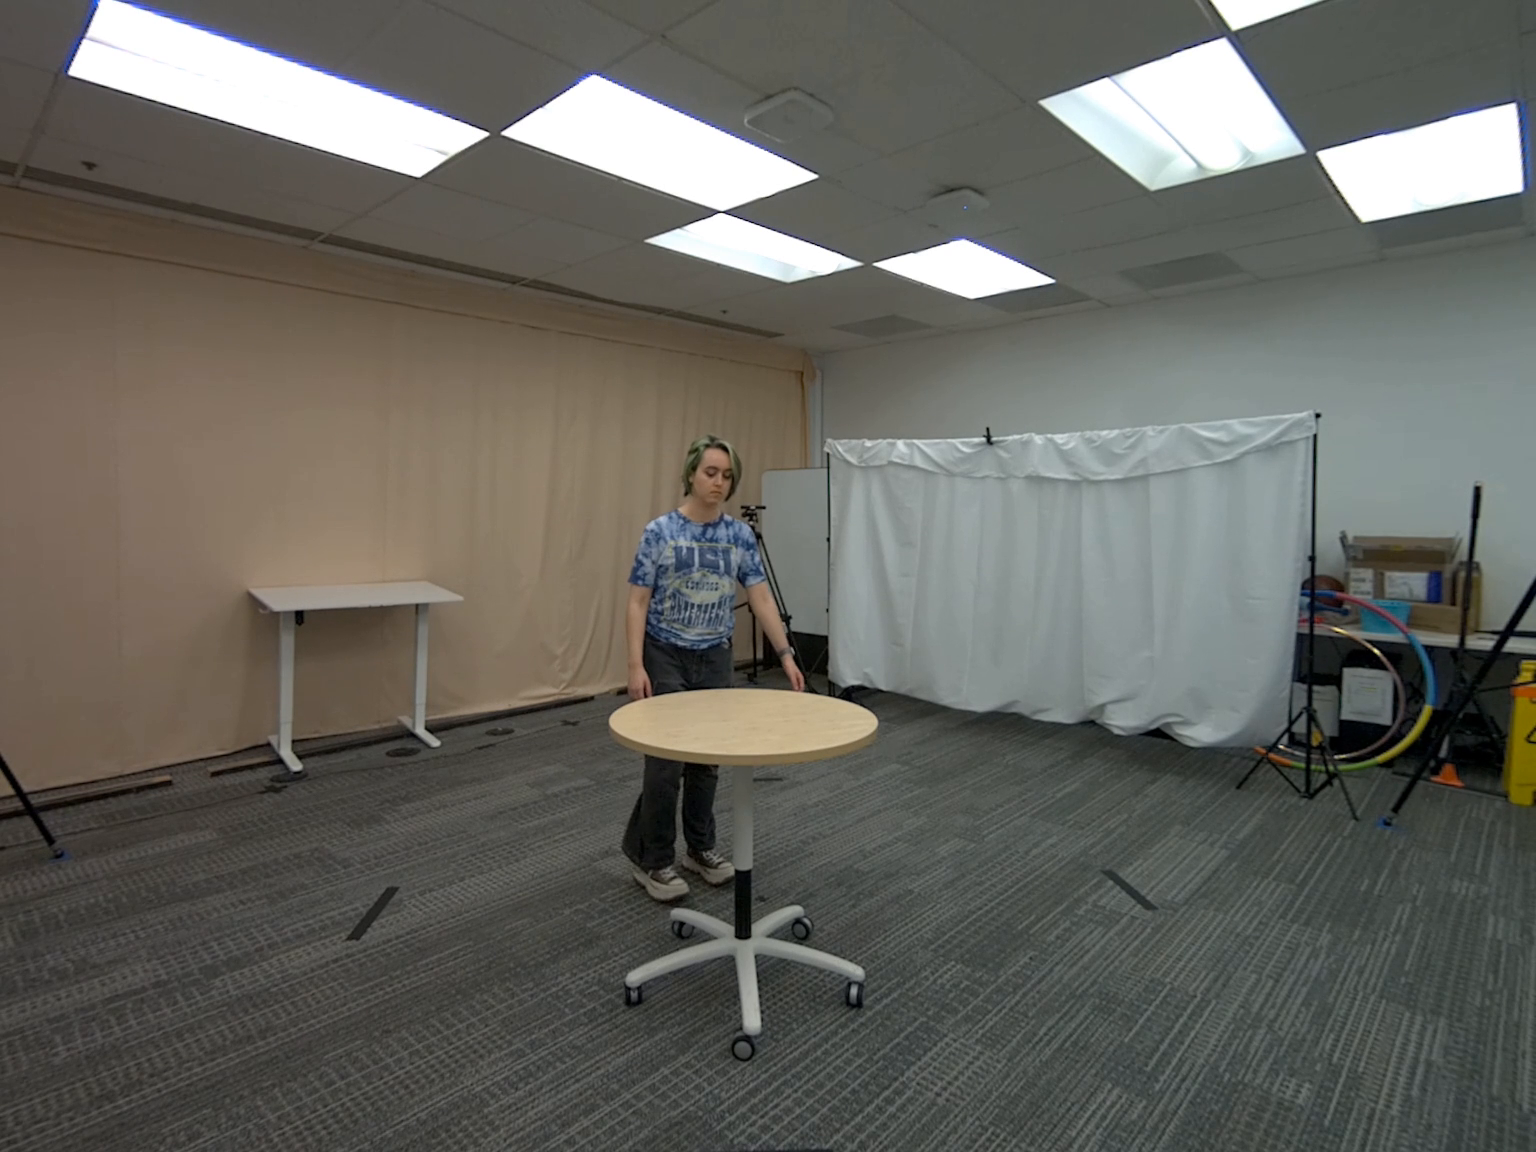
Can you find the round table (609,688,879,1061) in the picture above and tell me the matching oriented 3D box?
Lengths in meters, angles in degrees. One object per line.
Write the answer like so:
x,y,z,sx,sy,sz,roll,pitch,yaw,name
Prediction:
-0.067,0.801,2.442,0.763,0.792,0.766,0,4,-2,round table
